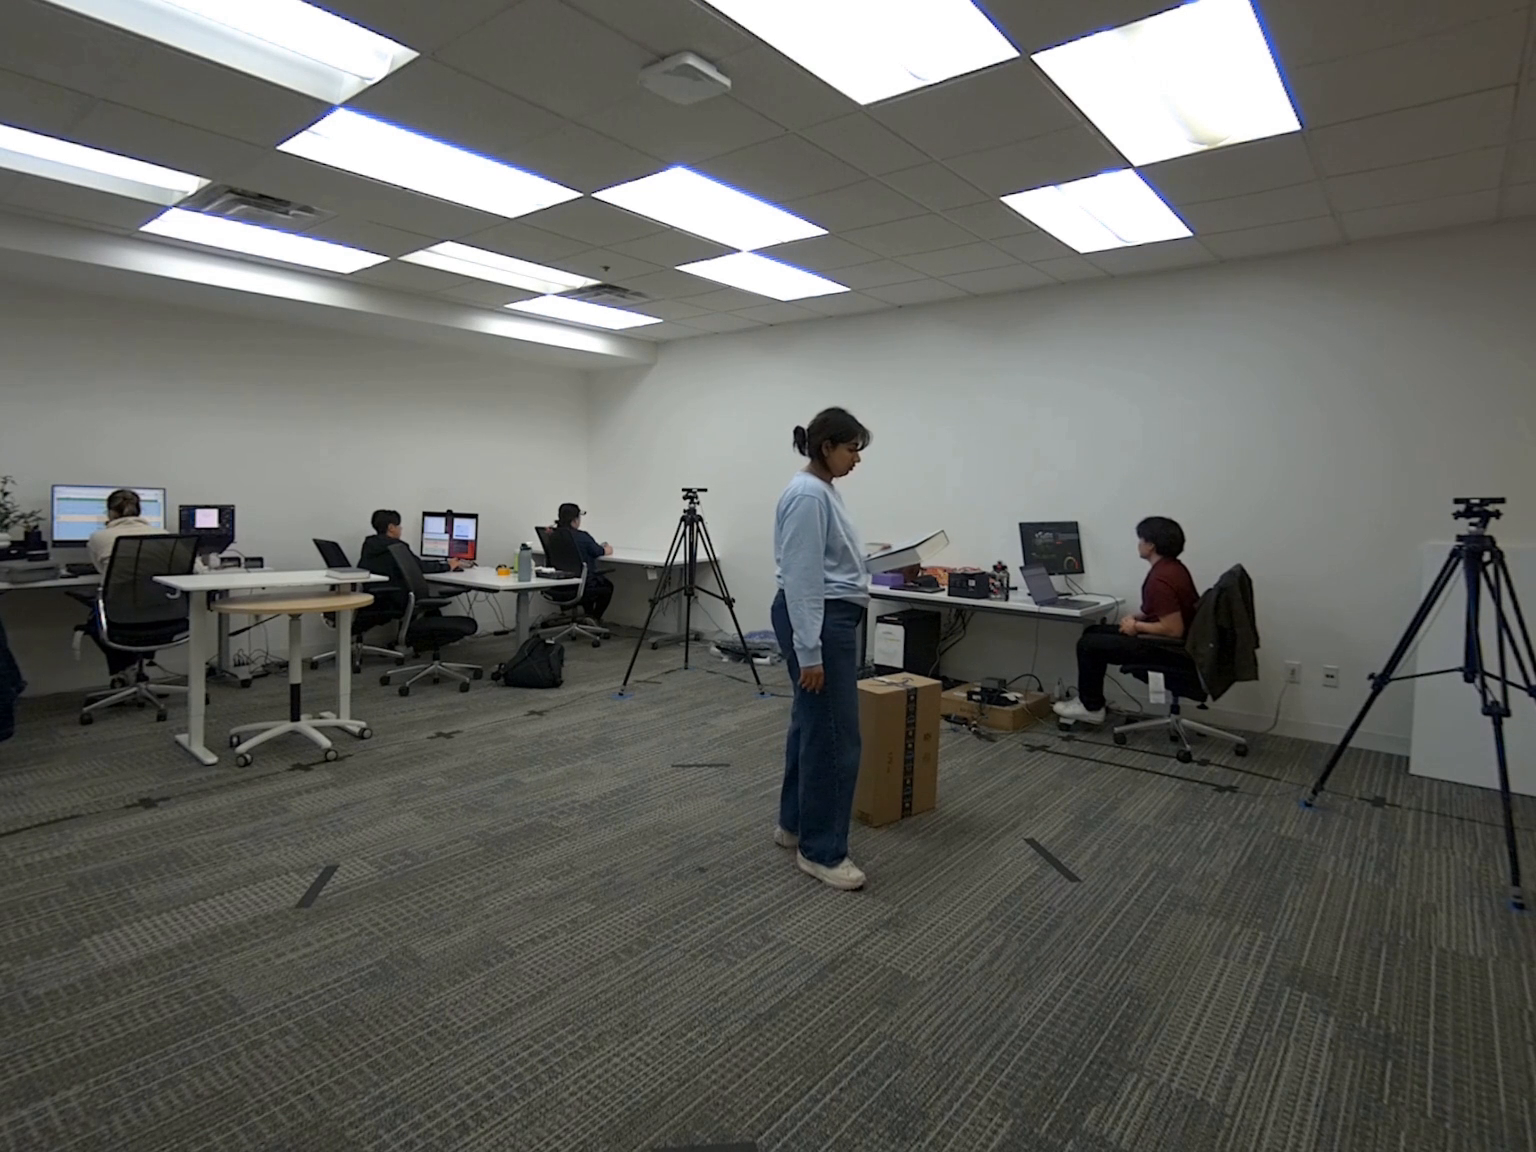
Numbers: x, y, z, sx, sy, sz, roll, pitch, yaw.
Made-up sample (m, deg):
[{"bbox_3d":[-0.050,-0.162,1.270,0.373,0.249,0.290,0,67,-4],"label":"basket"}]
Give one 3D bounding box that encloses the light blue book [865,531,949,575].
[{"bbox_3d":[0.510,-0.085,3.161,0.188,0.059,0.266,-29,7,-40],"label":"light blue book"}]
